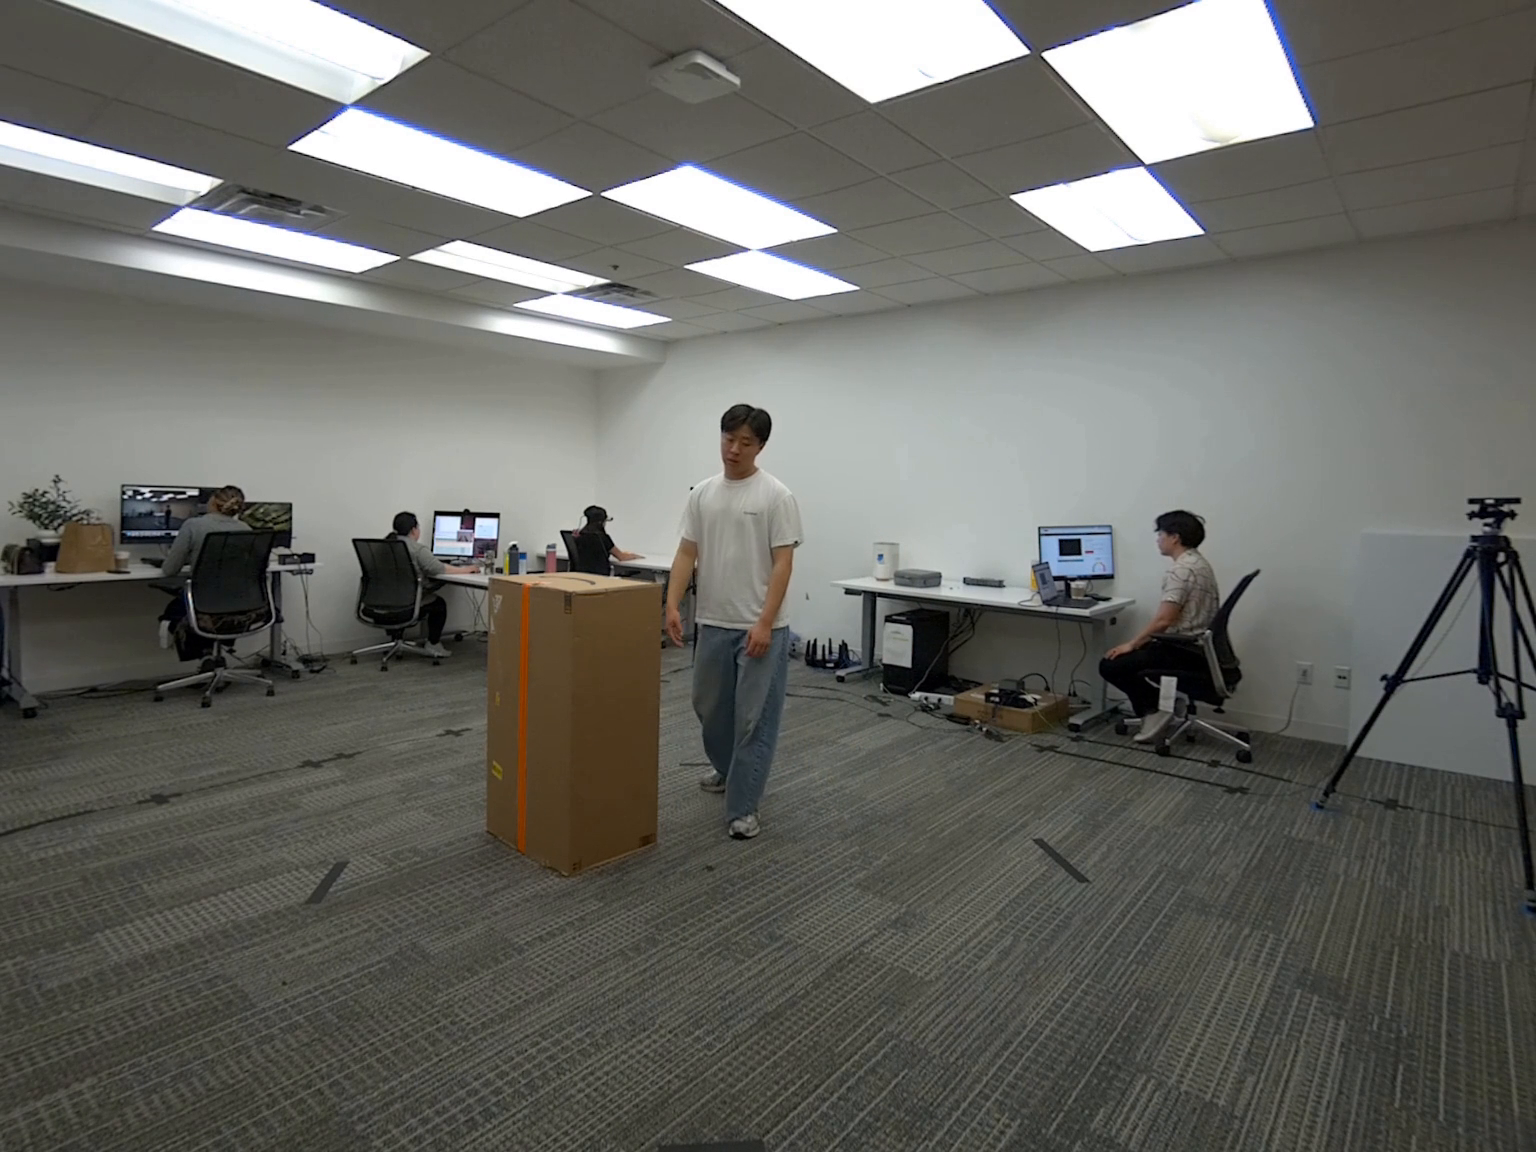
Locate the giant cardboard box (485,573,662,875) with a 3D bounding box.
[{"bbox_3d":[-0.779,0.523,3.326,0.597,1.023,0.413,4,4,42],"label":"giant cardboard box"}]
